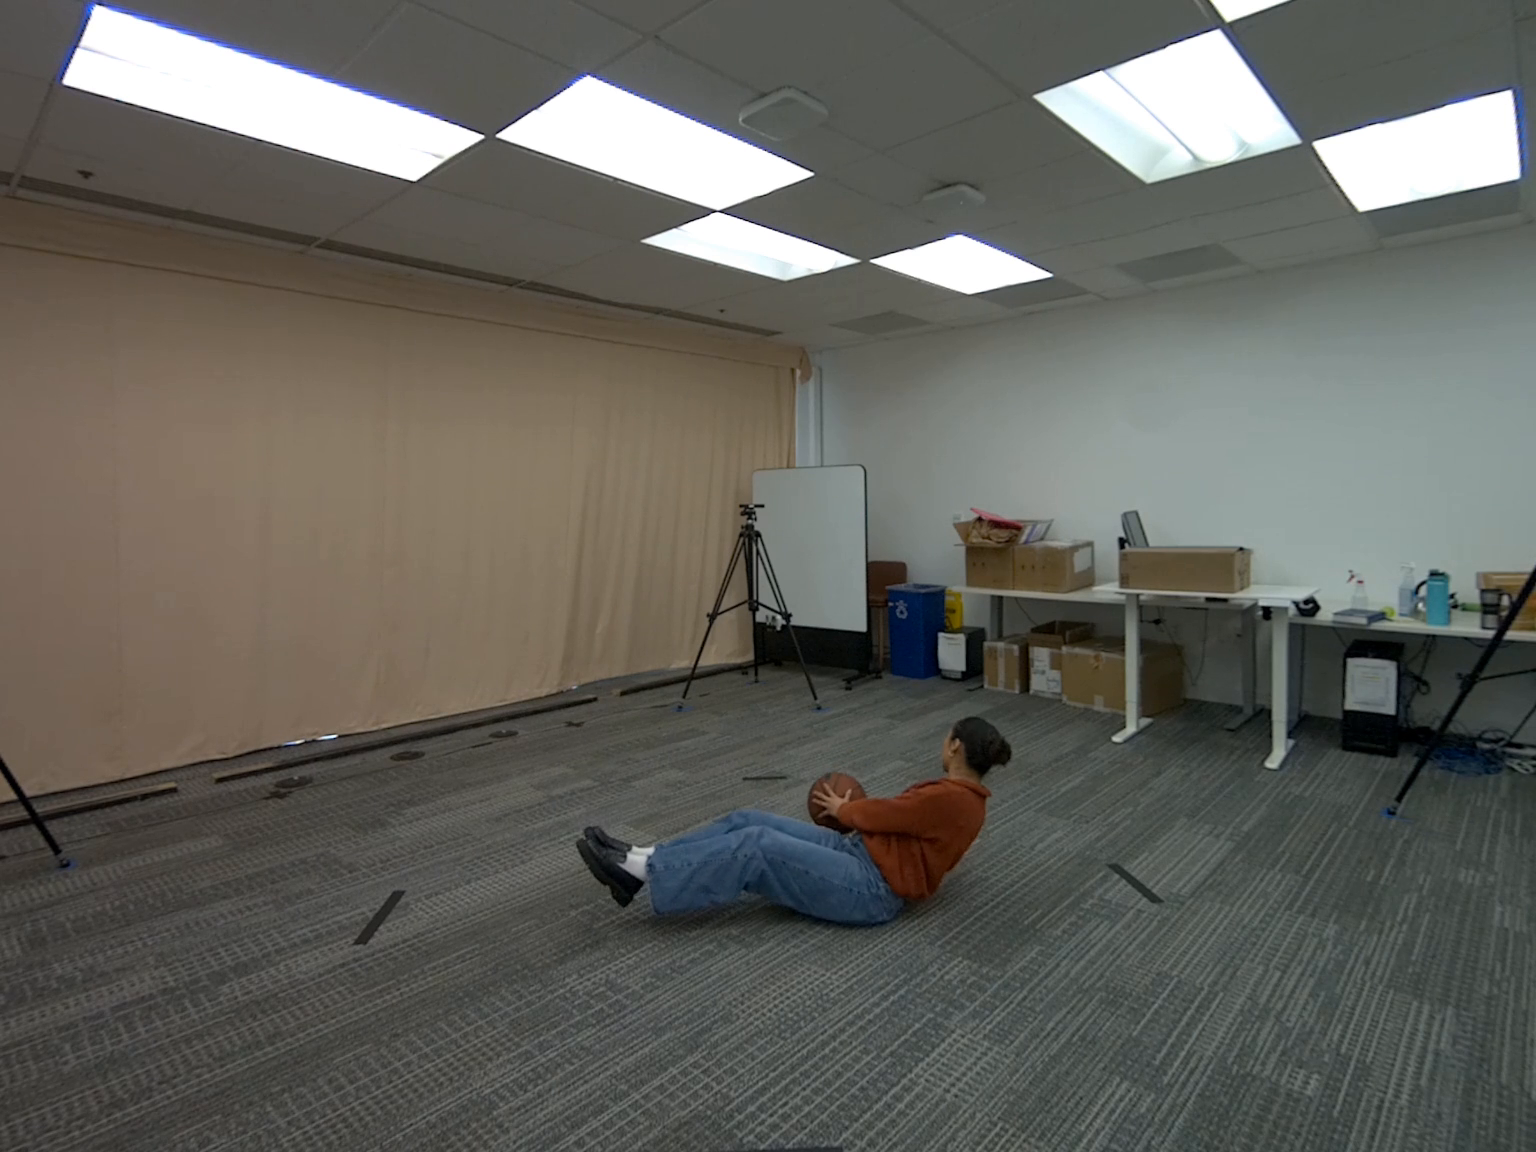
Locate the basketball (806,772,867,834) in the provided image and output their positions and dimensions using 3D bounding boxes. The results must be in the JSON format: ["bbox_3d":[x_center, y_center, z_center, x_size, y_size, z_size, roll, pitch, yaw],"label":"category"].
[{"bbox_3d":[0.274,0.880,3.296,0.236,0.235,0.237,-1,4,-2],"label":"basketball"}]
